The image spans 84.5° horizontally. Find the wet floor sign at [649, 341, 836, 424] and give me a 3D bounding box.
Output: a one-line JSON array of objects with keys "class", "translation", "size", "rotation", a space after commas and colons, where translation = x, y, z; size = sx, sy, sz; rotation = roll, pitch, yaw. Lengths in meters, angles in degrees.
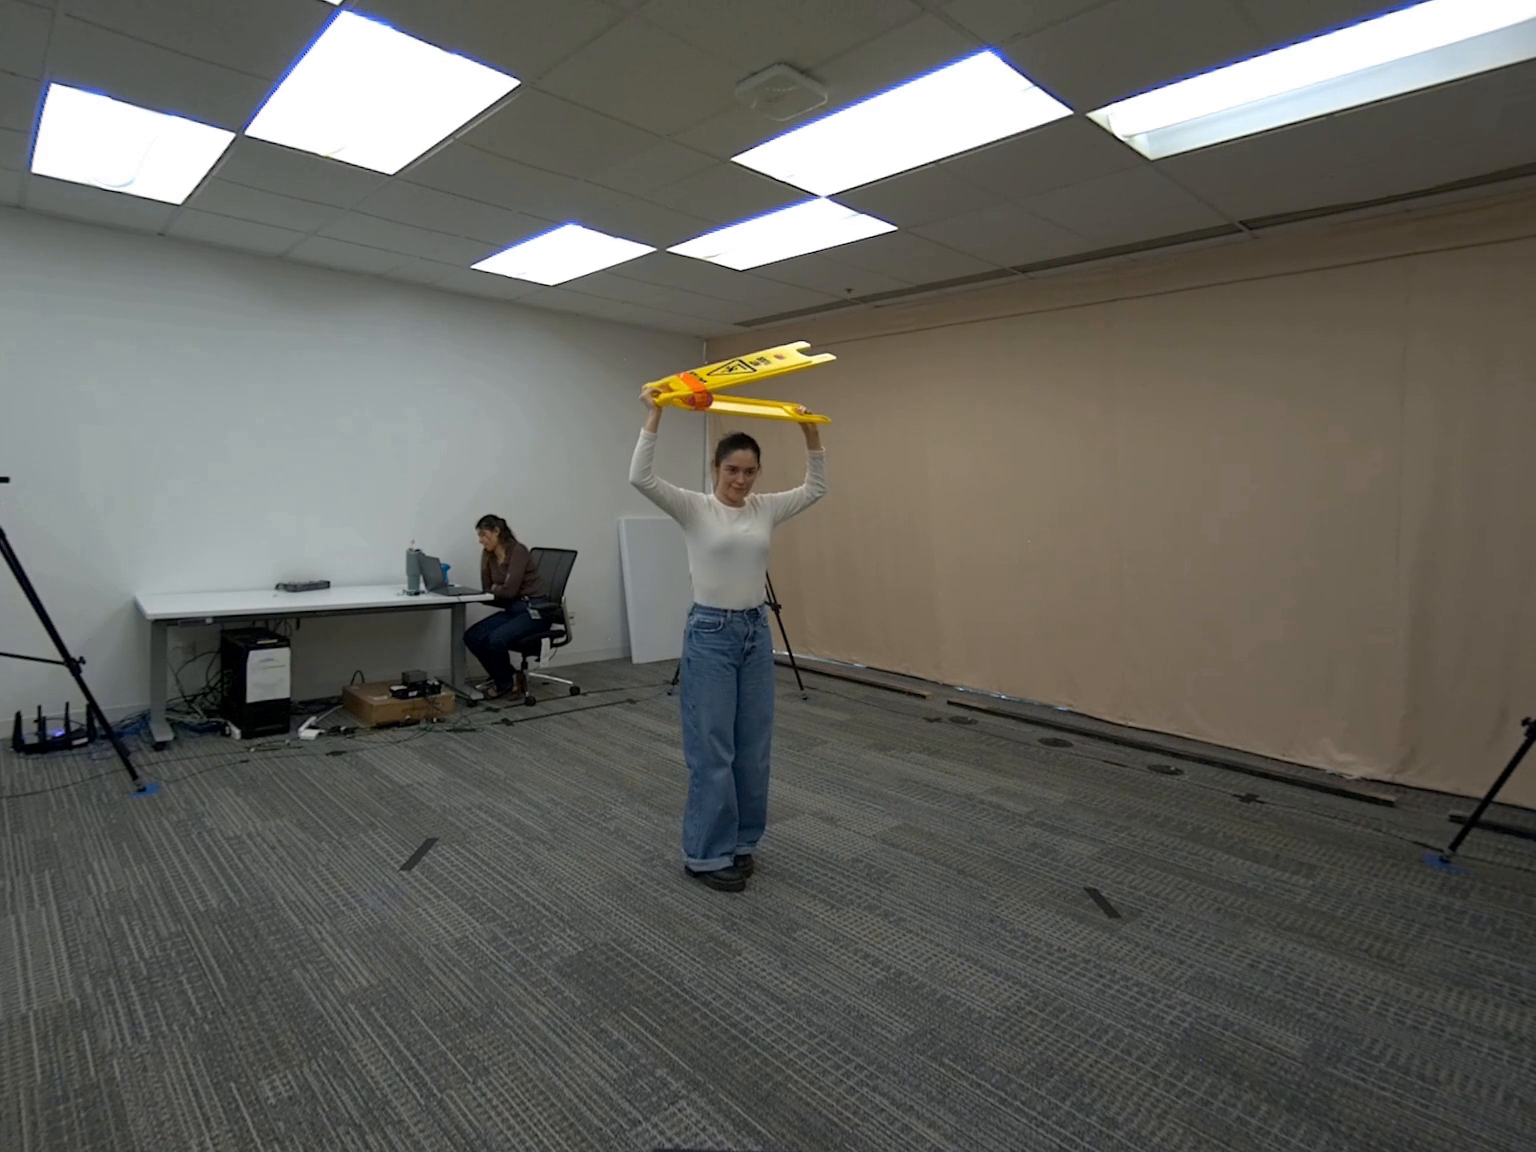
[{"class": "wet floor sign", "translation": [-0.127, -0.668, 3.005], "size": [0.637, 0.285, 0.291], "rotation": [-8, 28, -22]}]
